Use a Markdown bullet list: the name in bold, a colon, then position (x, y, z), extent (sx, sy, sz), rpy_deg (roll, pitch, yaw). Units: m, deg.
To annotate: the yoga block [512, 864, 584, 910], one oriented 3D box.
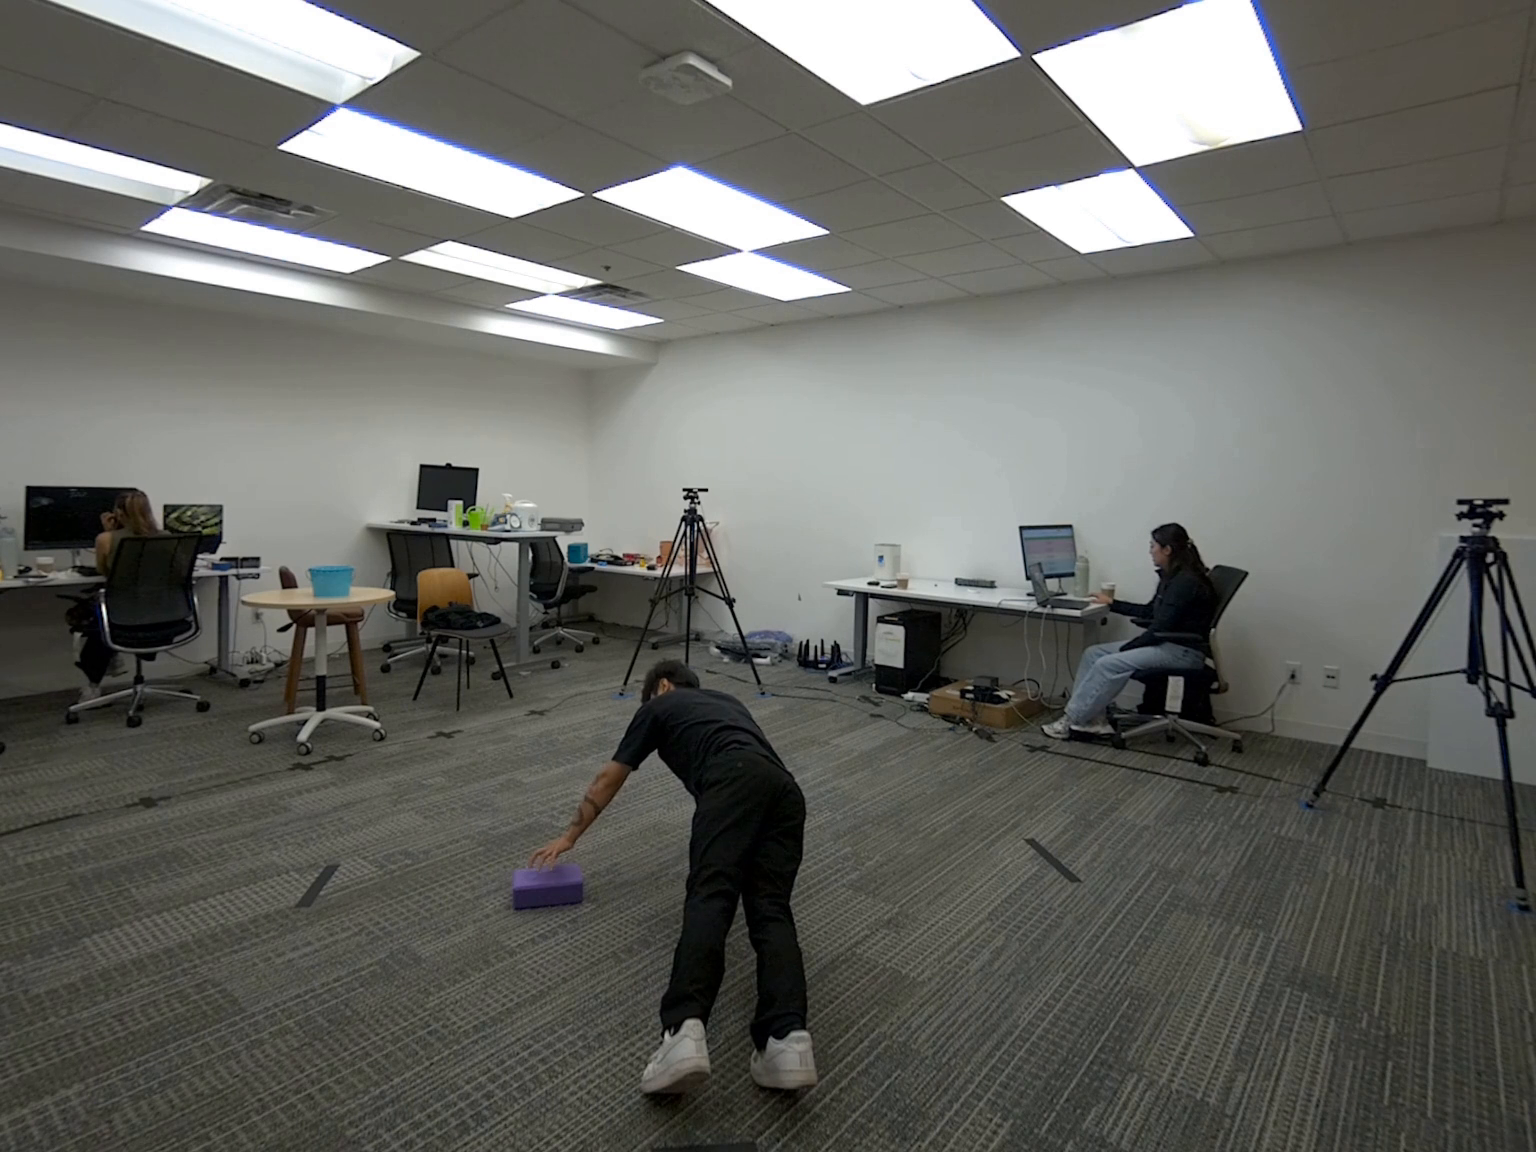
- **yoga block**: position (-0.758, 1.042, 2.876), extent (0.226, 0.076, 0.152), rpy_deg (0, 5, -15)
